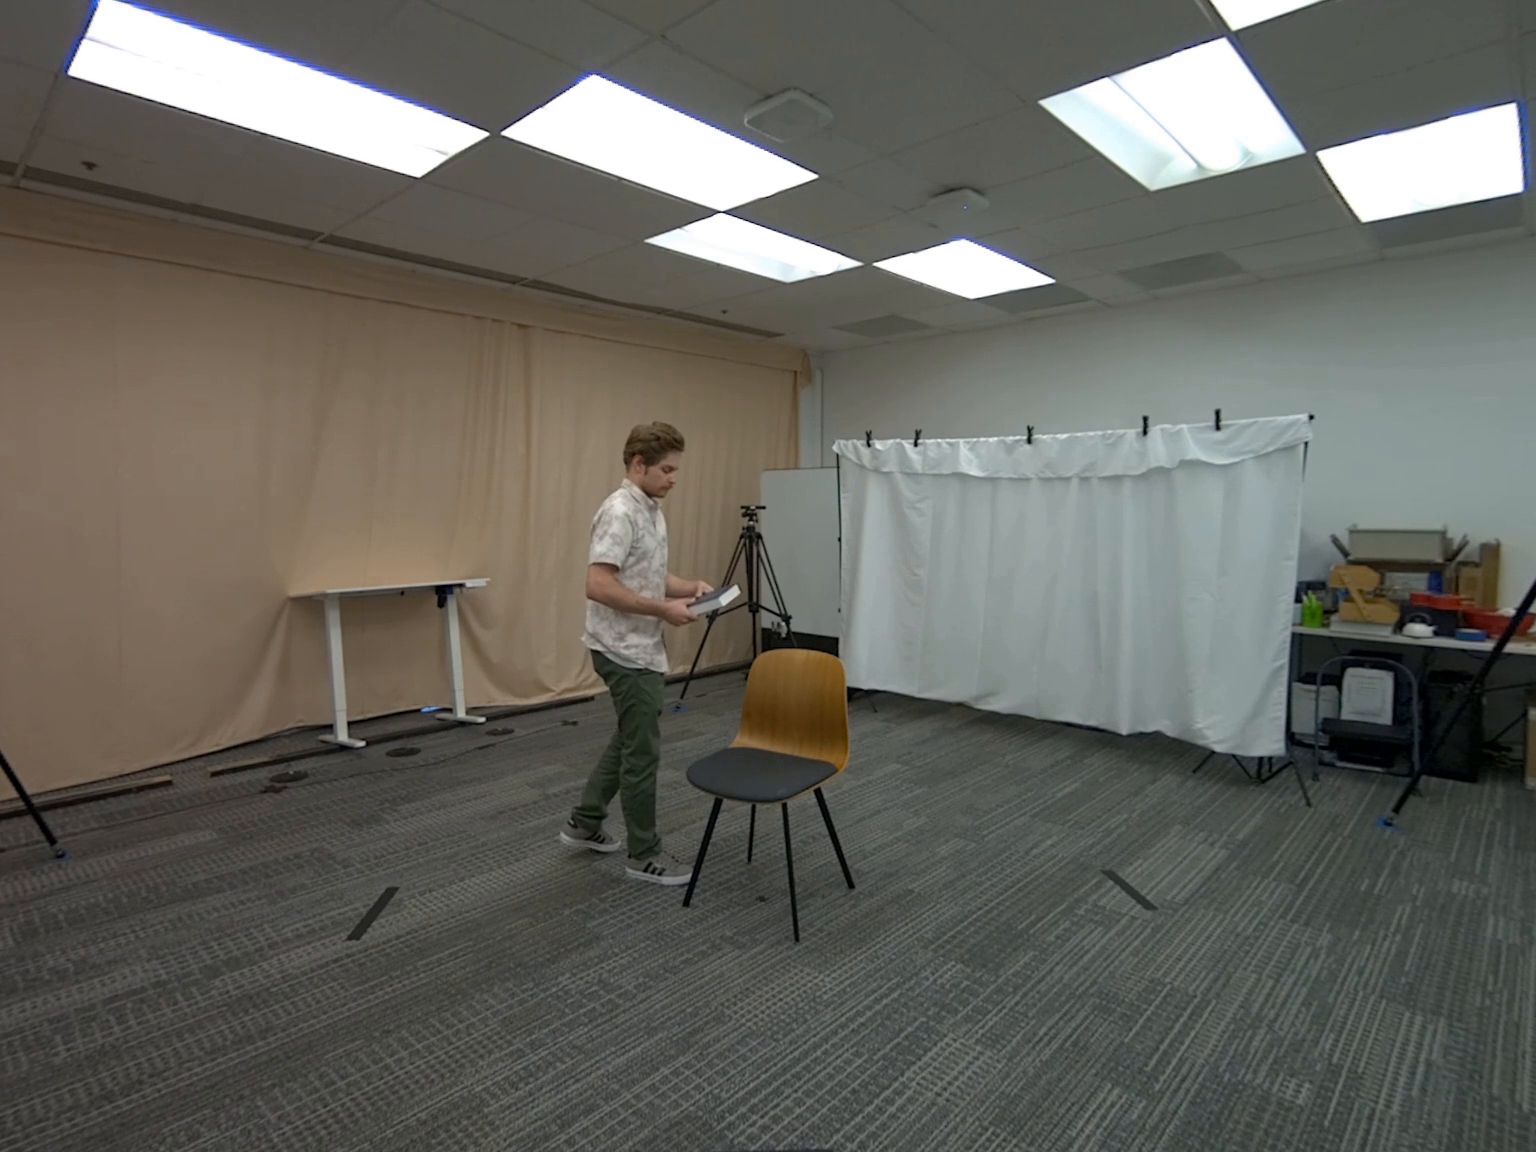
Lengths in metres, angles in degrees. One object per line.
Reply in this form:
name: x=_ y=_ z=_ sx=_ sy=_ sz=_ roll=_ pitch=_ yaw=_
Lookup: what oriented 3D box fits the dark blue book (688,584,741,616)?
dark blue book: x=-0.232 y=0.100 z=3.069 sx=0.250 sy=0.045 sz=0.161 roll=-18 pitch=9 yaw=25
